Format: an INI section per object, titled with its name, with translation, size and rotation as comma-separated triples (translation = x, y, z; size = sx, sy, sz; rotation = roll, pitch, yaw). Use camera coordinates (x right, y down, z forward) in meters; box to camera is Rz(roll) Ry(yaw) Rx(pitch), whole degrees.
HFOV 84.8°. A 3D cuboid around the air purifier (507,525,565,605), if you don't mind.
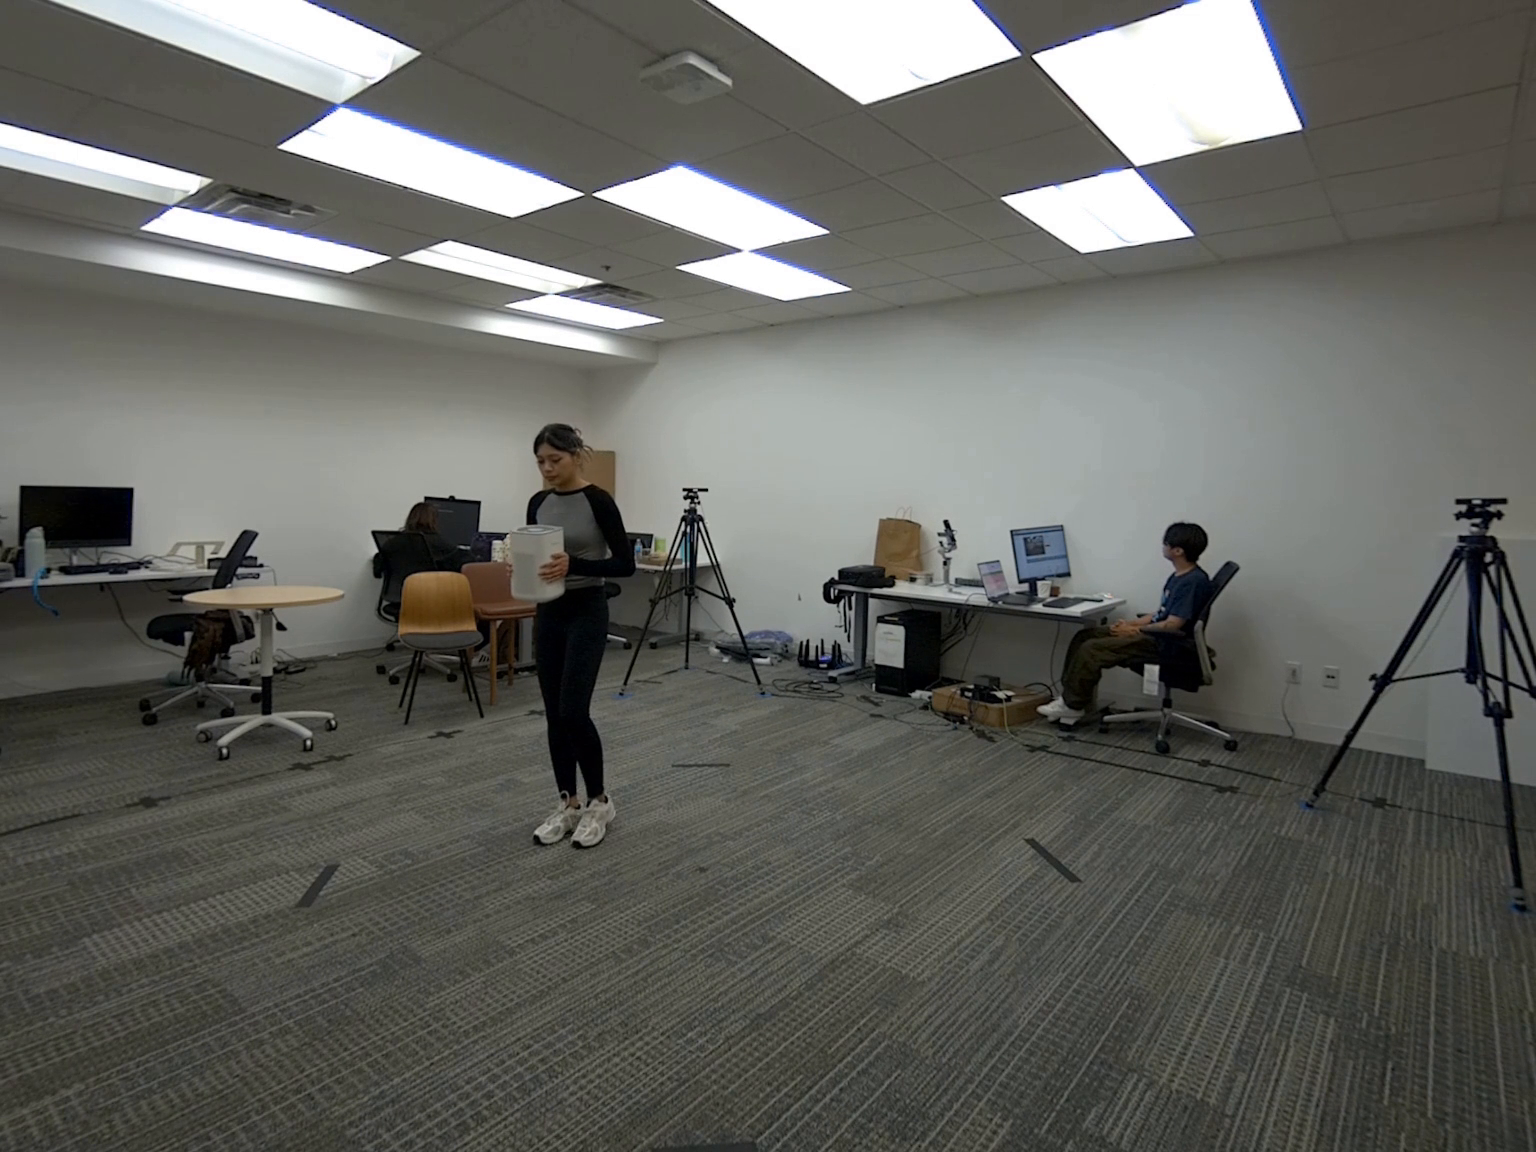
[air purifier]
translation = -0.878, -0.049, 3.194
size = 0.175, 0.263, 0.169
rotation = 3, 11, 16
